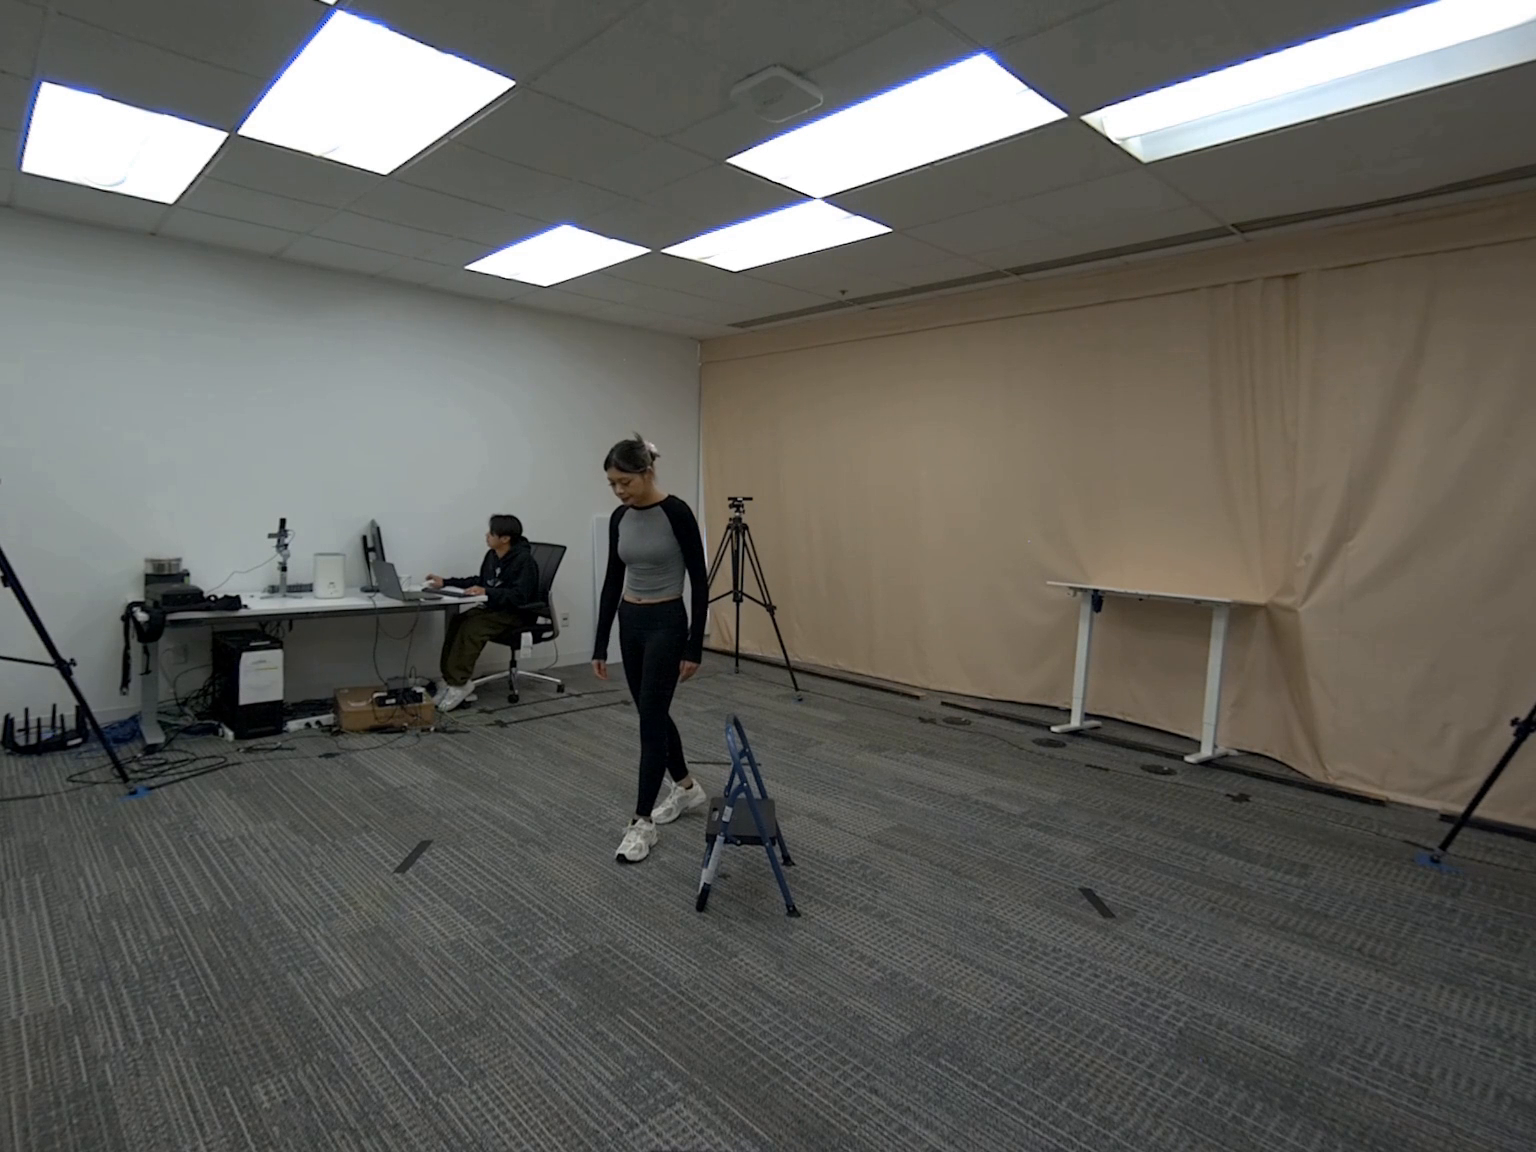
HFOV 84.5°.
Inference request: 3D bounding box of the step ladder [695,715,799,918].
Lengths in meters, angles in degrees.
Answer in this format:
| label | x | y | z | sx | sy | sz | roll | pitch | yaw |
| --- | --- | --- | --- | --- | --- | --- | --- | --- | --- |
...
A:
| label | x | y | z | sx | sy | sz | roll | pitch | yaw |
| --- | --- | --- | --- | --- | --- | --- | --- | --- | --- |
| step ladder | -0.071 | 0.817 | 3.007 | 0.349 | 0.604 | 0.431 | 1 | 4 | 0 |
